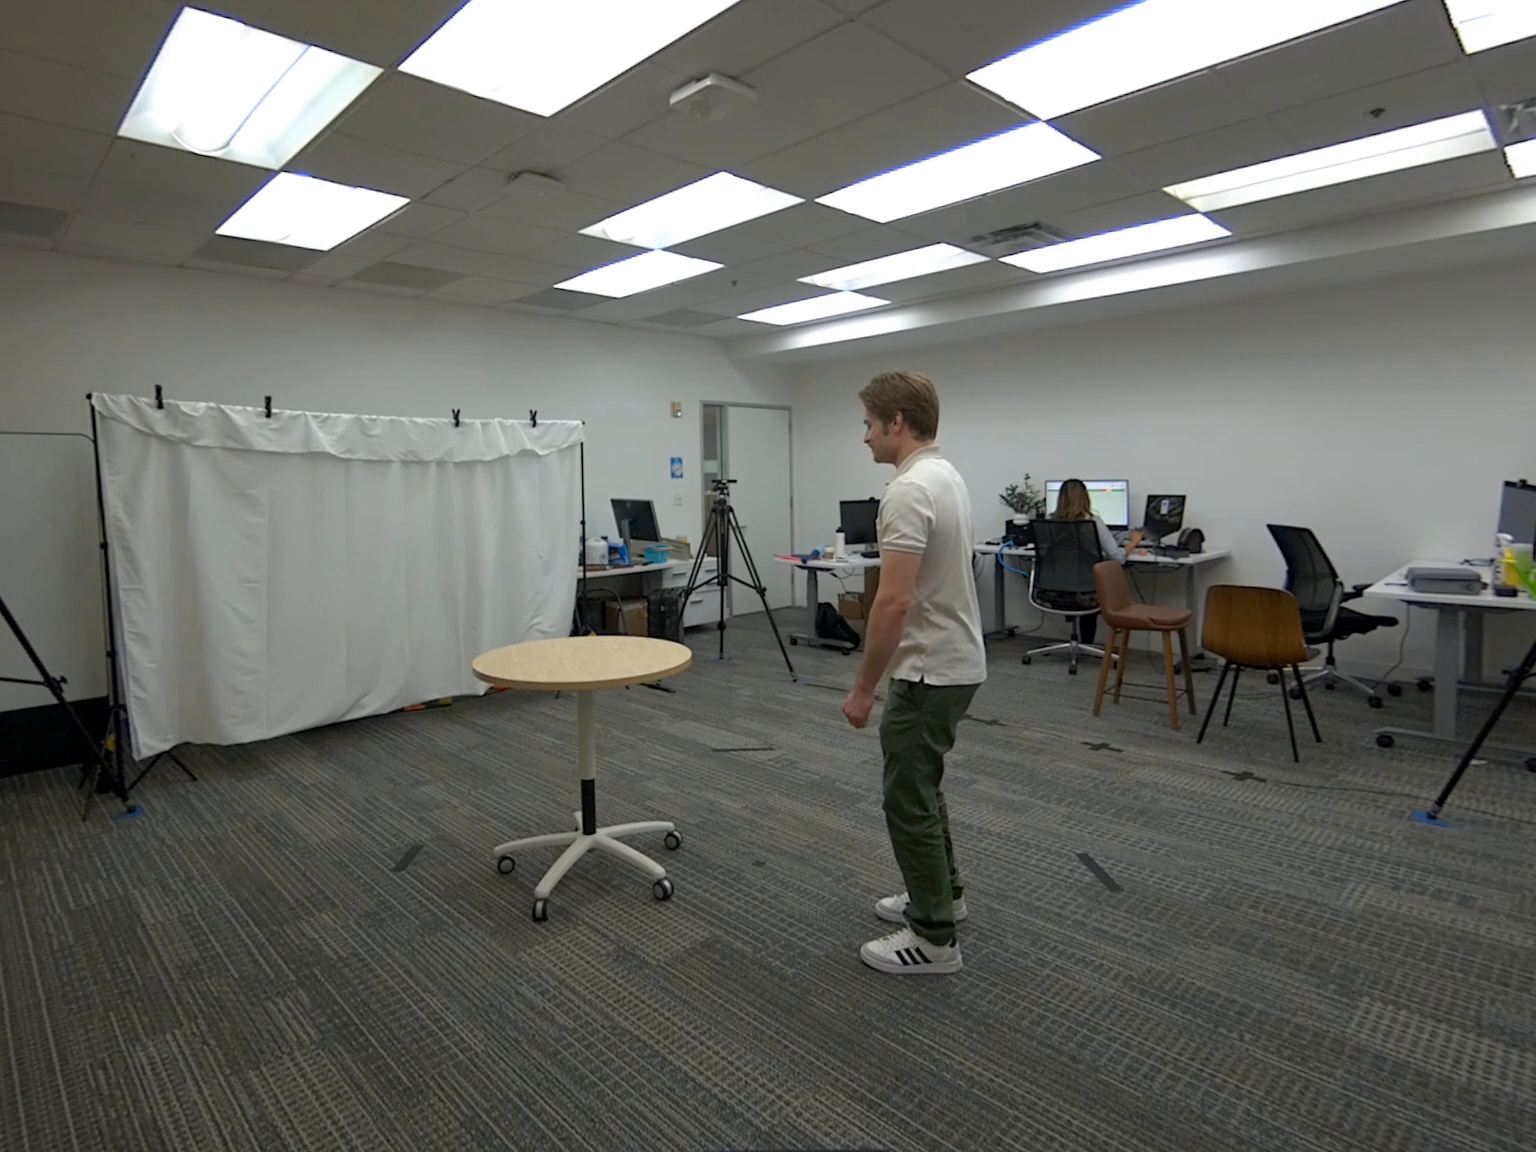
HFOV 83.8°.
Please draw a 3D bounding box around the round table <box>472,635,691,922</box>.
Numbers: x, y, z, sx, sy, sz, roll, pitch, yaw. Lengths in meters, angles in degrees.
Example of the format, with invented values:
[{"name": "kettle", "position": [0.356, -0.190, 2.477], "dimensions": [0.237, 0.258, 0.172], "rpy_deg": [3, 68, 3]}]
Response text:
[{"name": "round table", "position": [-0.641, 0.677, 3.061], "dimensions": [0.763, 0.791, 0.768], "rpy_deg": [-1, 5, -2]}]
